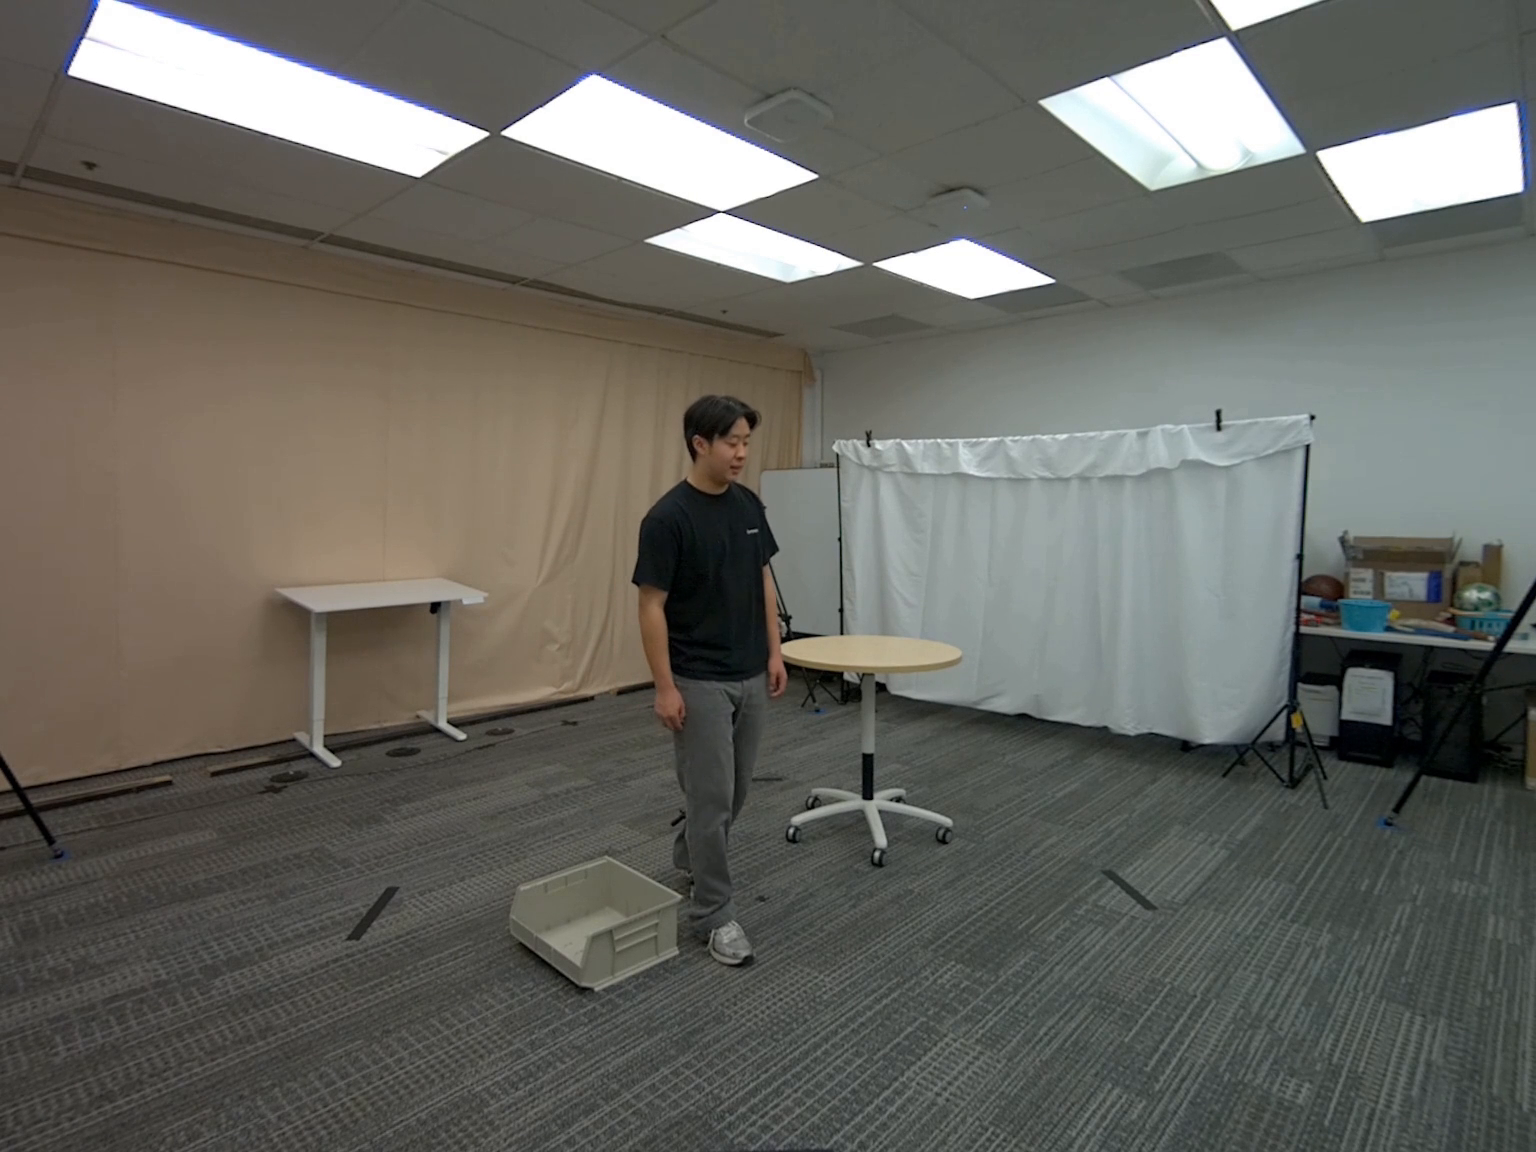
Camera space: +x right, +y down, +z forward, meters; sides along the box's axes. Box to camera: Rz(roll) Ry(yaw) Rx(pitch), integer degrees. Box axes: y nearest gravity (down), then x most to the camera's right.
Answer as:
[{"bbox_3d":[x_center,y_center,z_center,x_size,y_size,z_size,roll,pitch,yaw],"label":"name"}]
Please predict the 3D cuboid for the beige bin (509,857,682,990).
[{"bbox_3d":[-0.547,1.092,2.647,0.366,0.188,0.436,-3,5,-43],"label":"beige bin"}]
